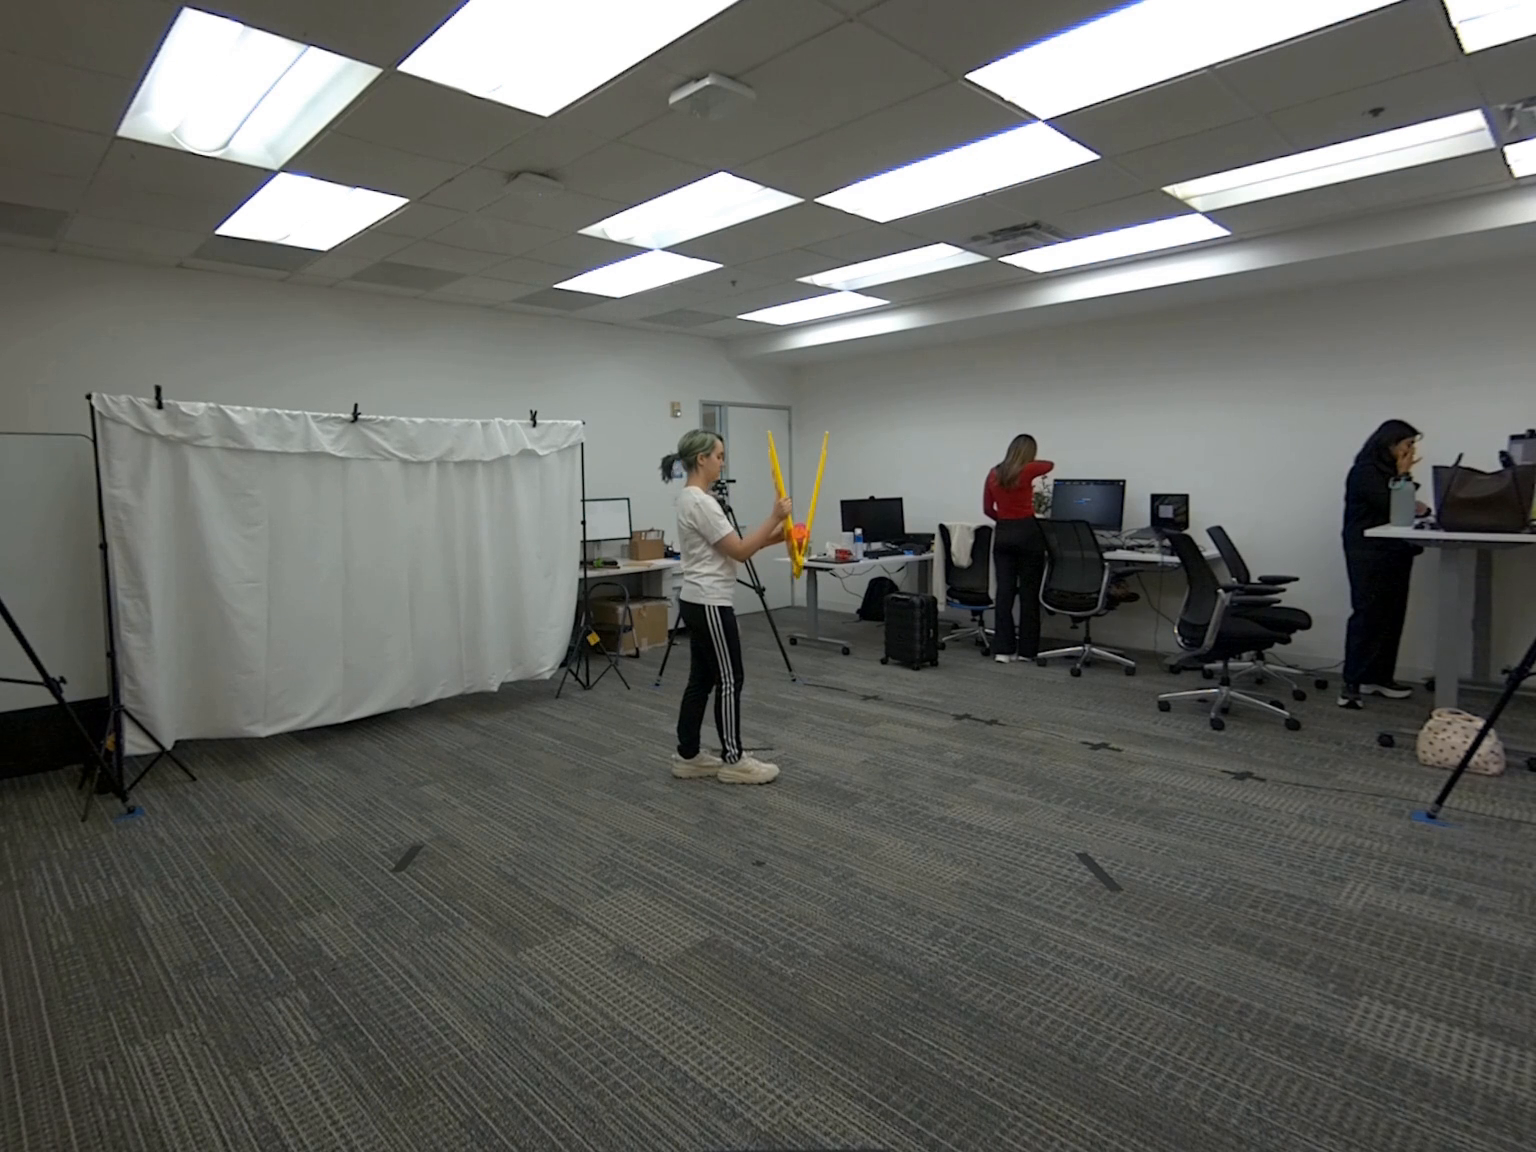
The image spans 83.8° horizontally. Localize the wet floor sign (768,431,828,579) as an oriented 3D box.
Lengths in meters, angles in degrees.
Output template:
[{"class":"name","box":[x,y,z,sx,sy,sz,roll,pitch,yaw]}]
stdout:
[{"class":"wet floor sign","box":[0.142,-0.322,3.955,0.290,0.657,0.277,0,-18,0]}]
